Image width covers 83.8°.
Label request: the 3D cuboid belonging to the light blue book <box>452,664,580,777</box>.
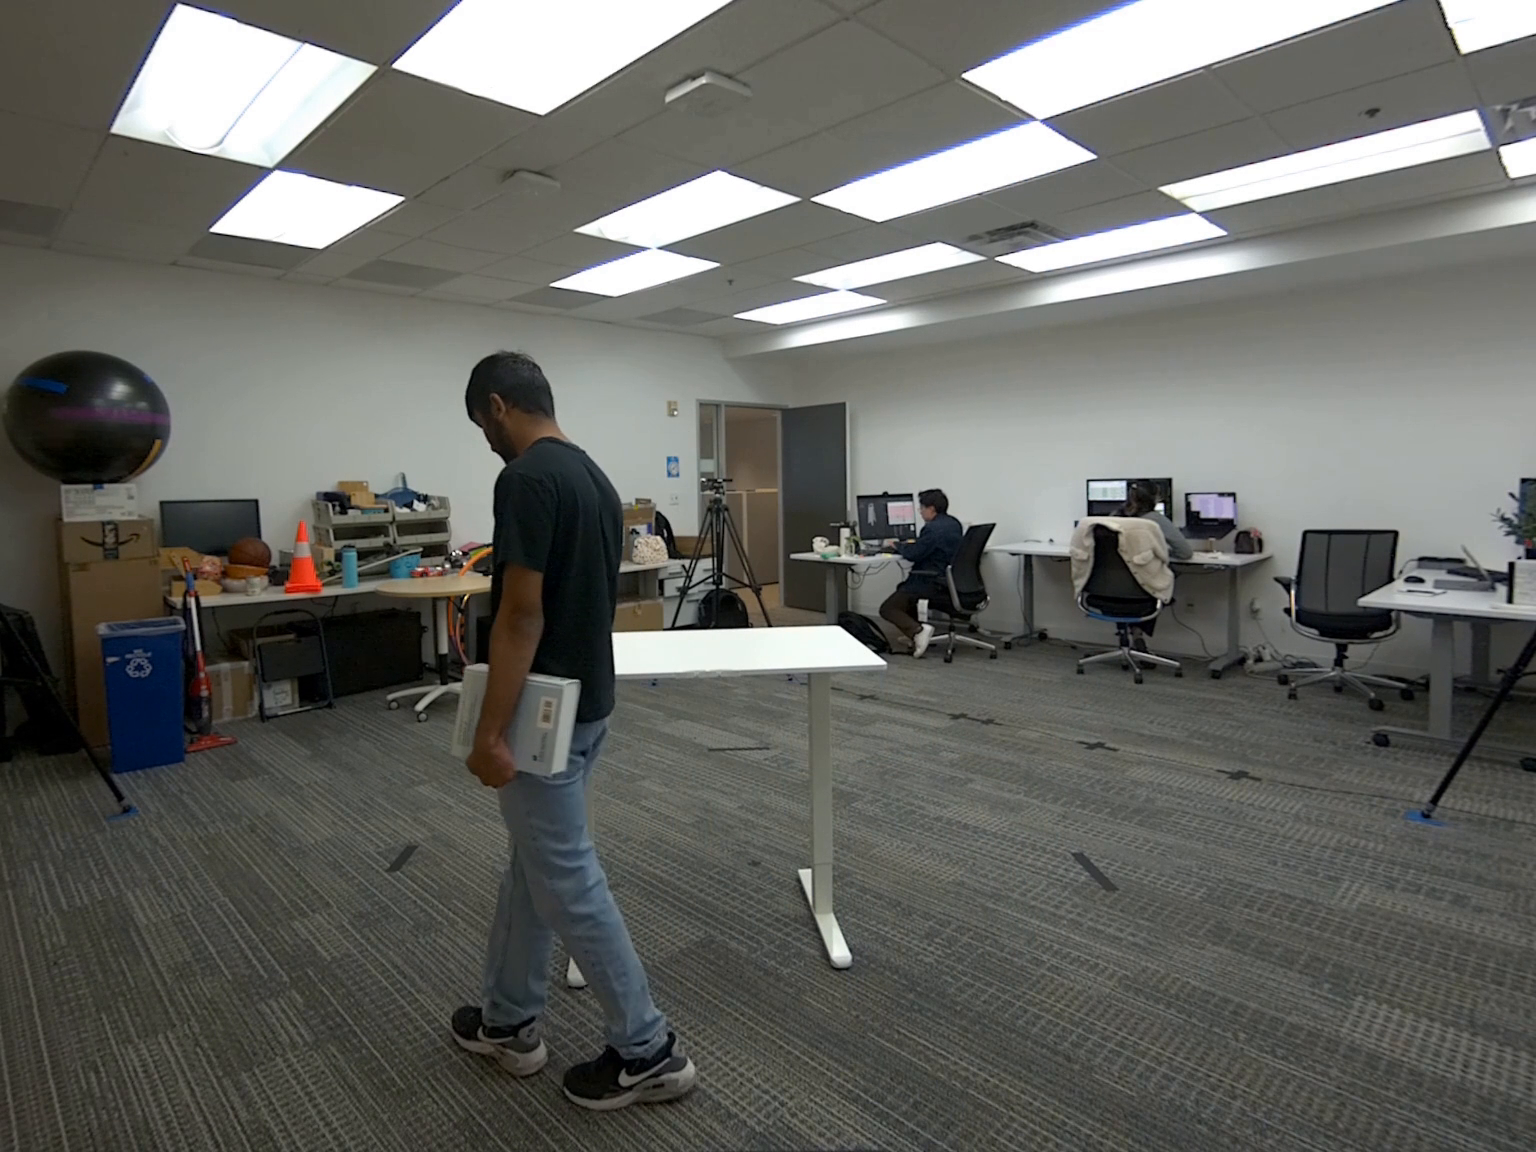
[{"bbox_3d":[-0.528,0.296,1.790,0.267,0.192,0.057,6,-7,25],"label":"light blue book"}]
